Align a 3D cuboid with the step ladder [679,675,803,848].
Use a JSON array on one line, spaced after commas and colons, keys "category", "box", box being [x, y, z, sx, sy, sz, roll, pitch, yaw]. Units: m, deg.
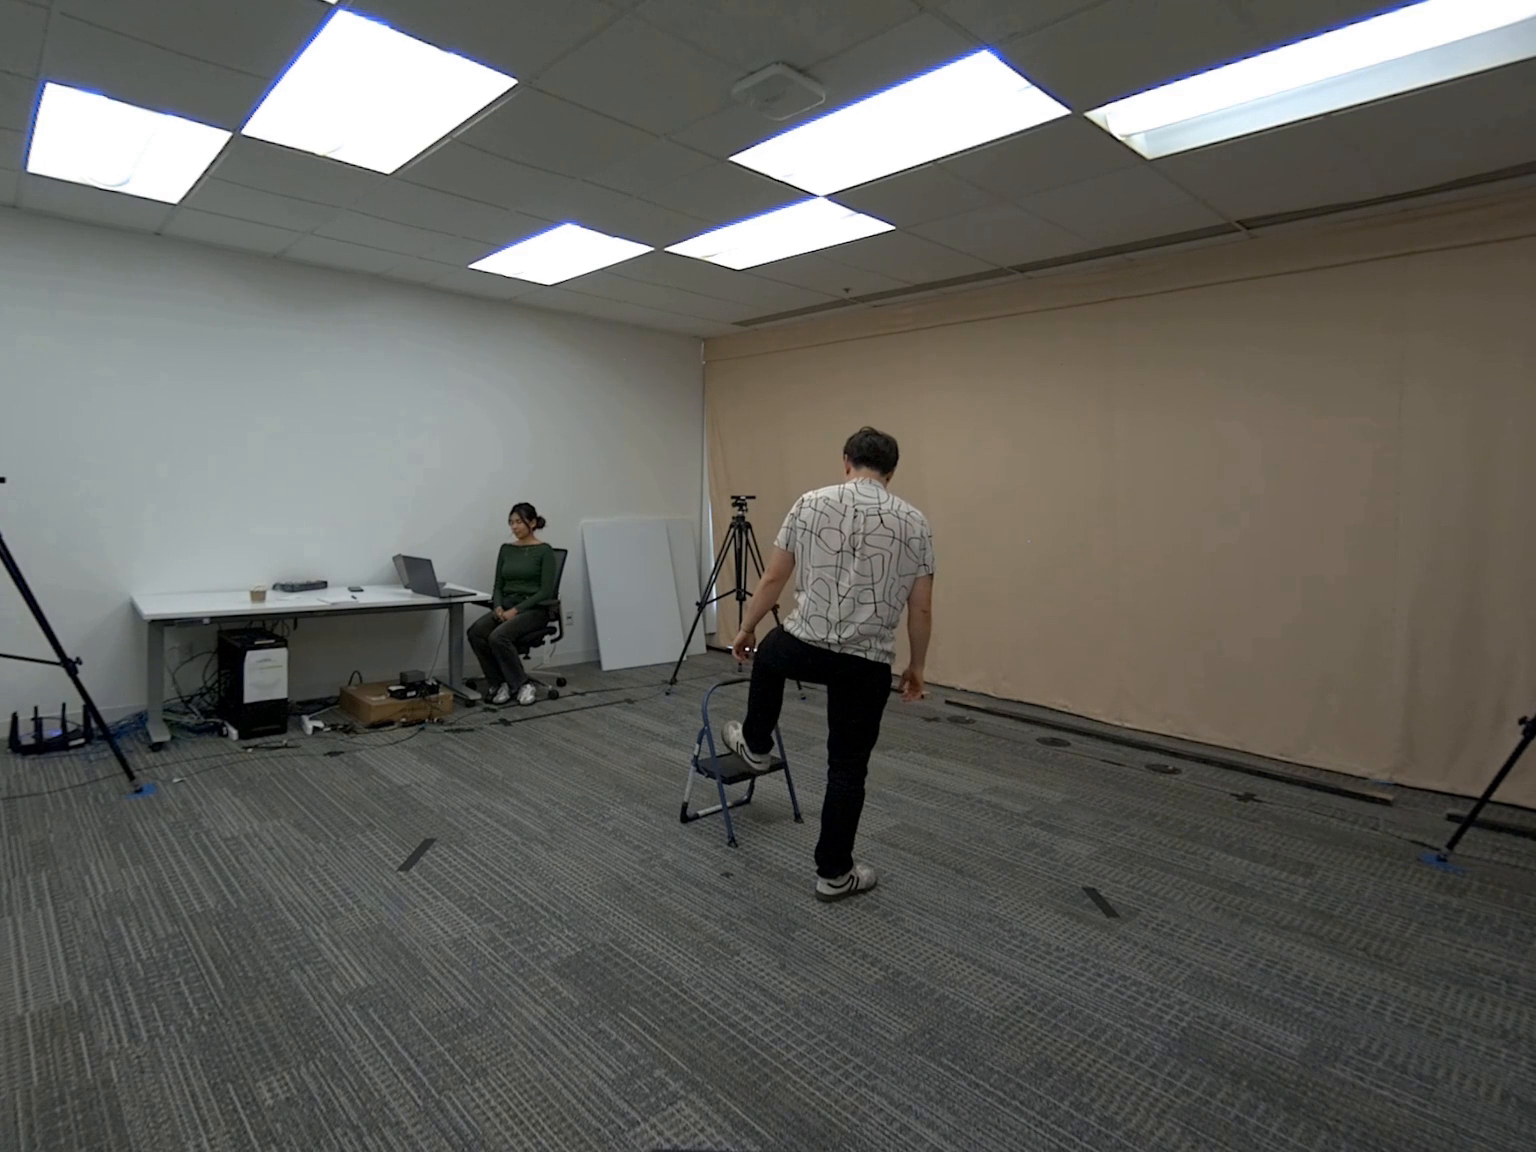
[{"category": "step ladder", "box": [-0.114, 0.754, 3.598, 0.358, 0.605, 0.421, 4, 4, 44]}]
